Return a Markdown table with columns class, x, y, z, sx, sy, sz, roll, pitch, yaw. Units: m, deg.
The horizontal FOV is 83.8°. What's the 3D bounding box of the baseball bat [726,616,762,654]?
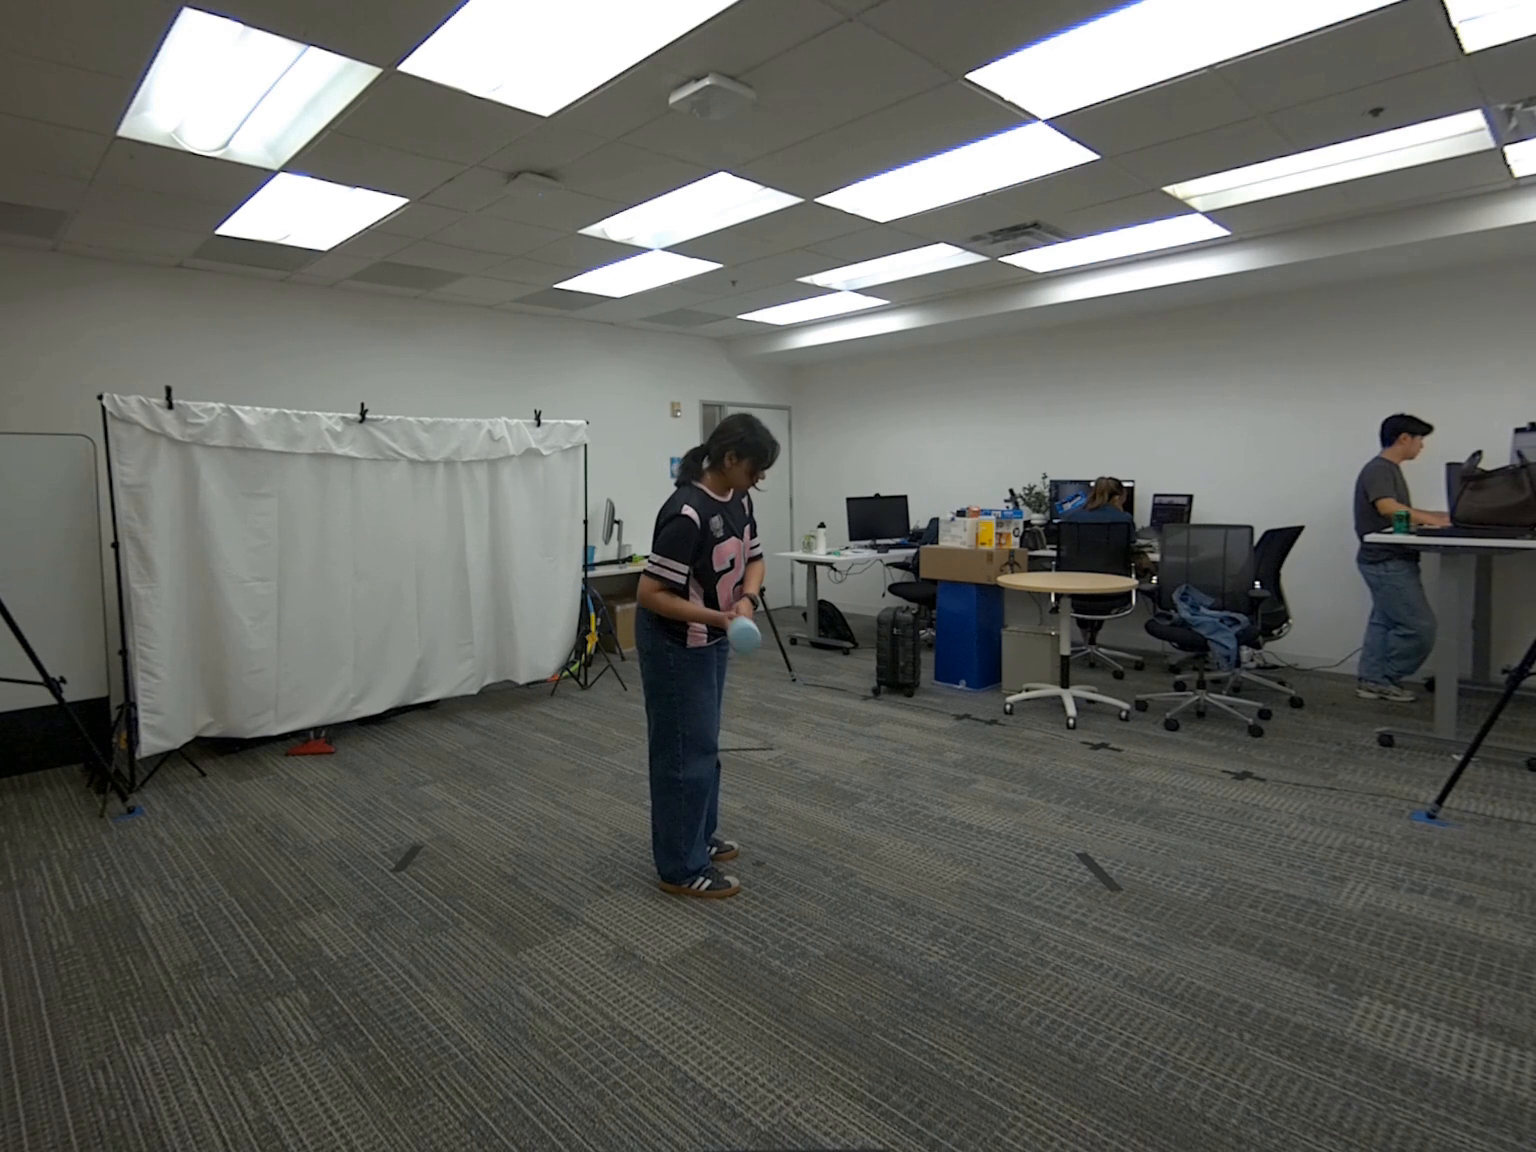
| class | x | y | z | sx | sy | sz | roll | pitch | yaw |
| --- | --- | --- | --- | --- | --- | --- | --- | --- | --- |
| baseball bat | -0.077 | 0.159 | 2.535 | 0.089 | 0.089 | 0.546 | -1 | 3 | -5 |
